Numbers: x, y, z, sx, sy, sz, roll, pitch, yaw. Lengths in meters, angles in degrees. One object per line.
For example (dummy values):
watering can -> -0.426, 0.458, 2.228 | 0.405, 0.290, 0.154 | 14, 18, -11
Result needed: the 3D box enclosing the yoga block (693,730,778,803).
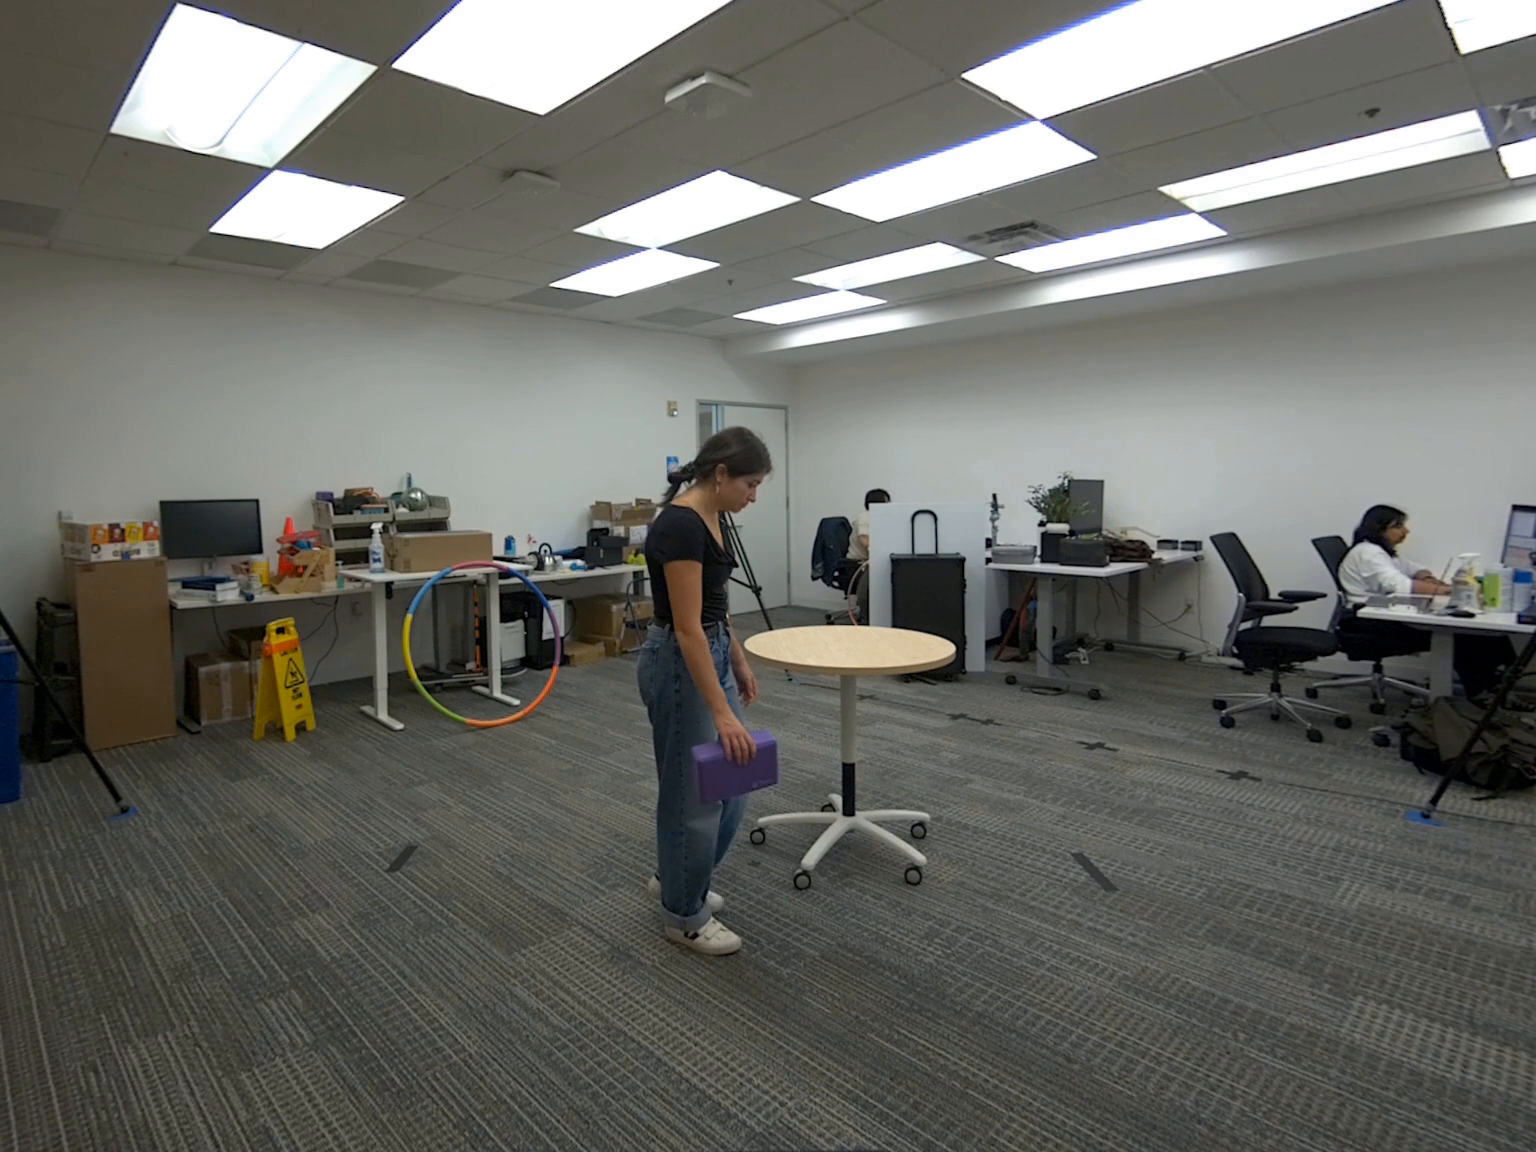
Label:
yoga block -> -0.095, 0.527, 2.361 | 0.226, 0.146, 0.079 | -12, 22, -18
